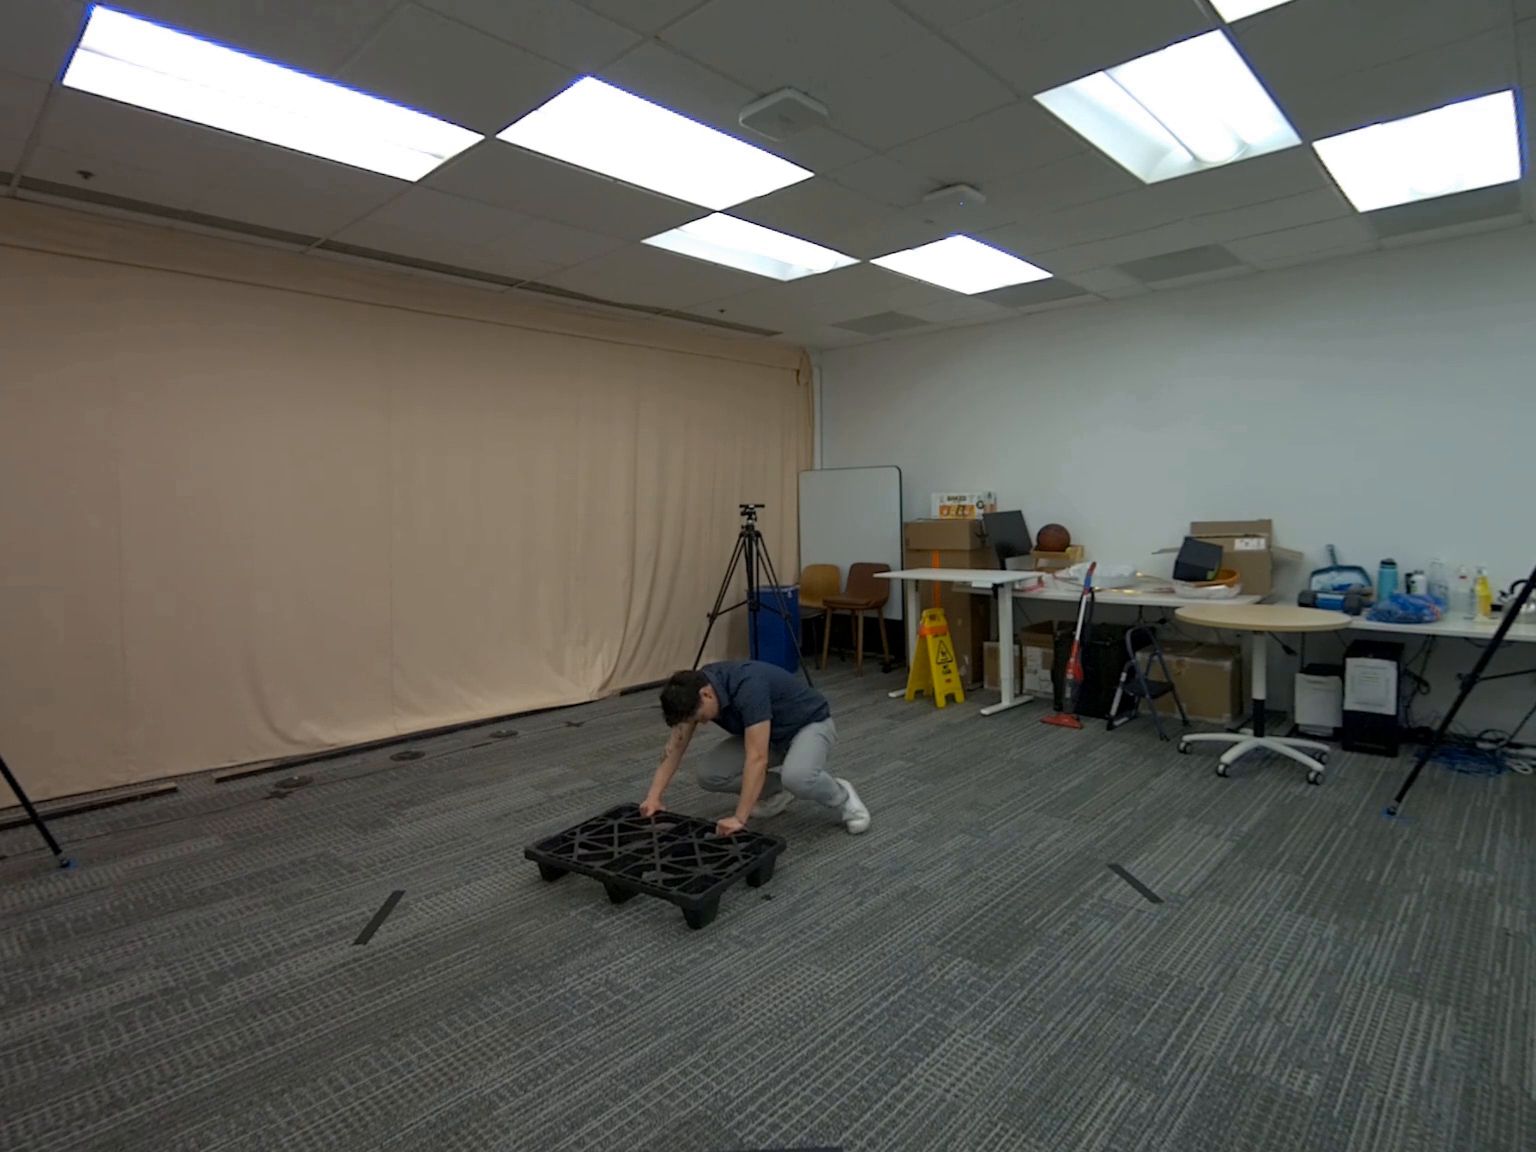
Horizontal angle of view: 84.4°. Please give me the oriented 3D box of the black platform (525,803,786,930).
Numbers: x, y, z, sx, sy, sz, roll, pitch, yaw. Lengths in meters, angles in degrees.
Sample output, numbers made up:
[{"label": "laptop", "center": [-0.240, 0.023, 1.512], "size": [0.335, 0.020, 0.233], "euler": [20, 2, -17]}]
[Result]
[{"label": "black platform", "center": [-0.418, 1.066, 3.145], "size": [0.830, 0.143, 0.588], "euler": [1, 5, 33]}]
